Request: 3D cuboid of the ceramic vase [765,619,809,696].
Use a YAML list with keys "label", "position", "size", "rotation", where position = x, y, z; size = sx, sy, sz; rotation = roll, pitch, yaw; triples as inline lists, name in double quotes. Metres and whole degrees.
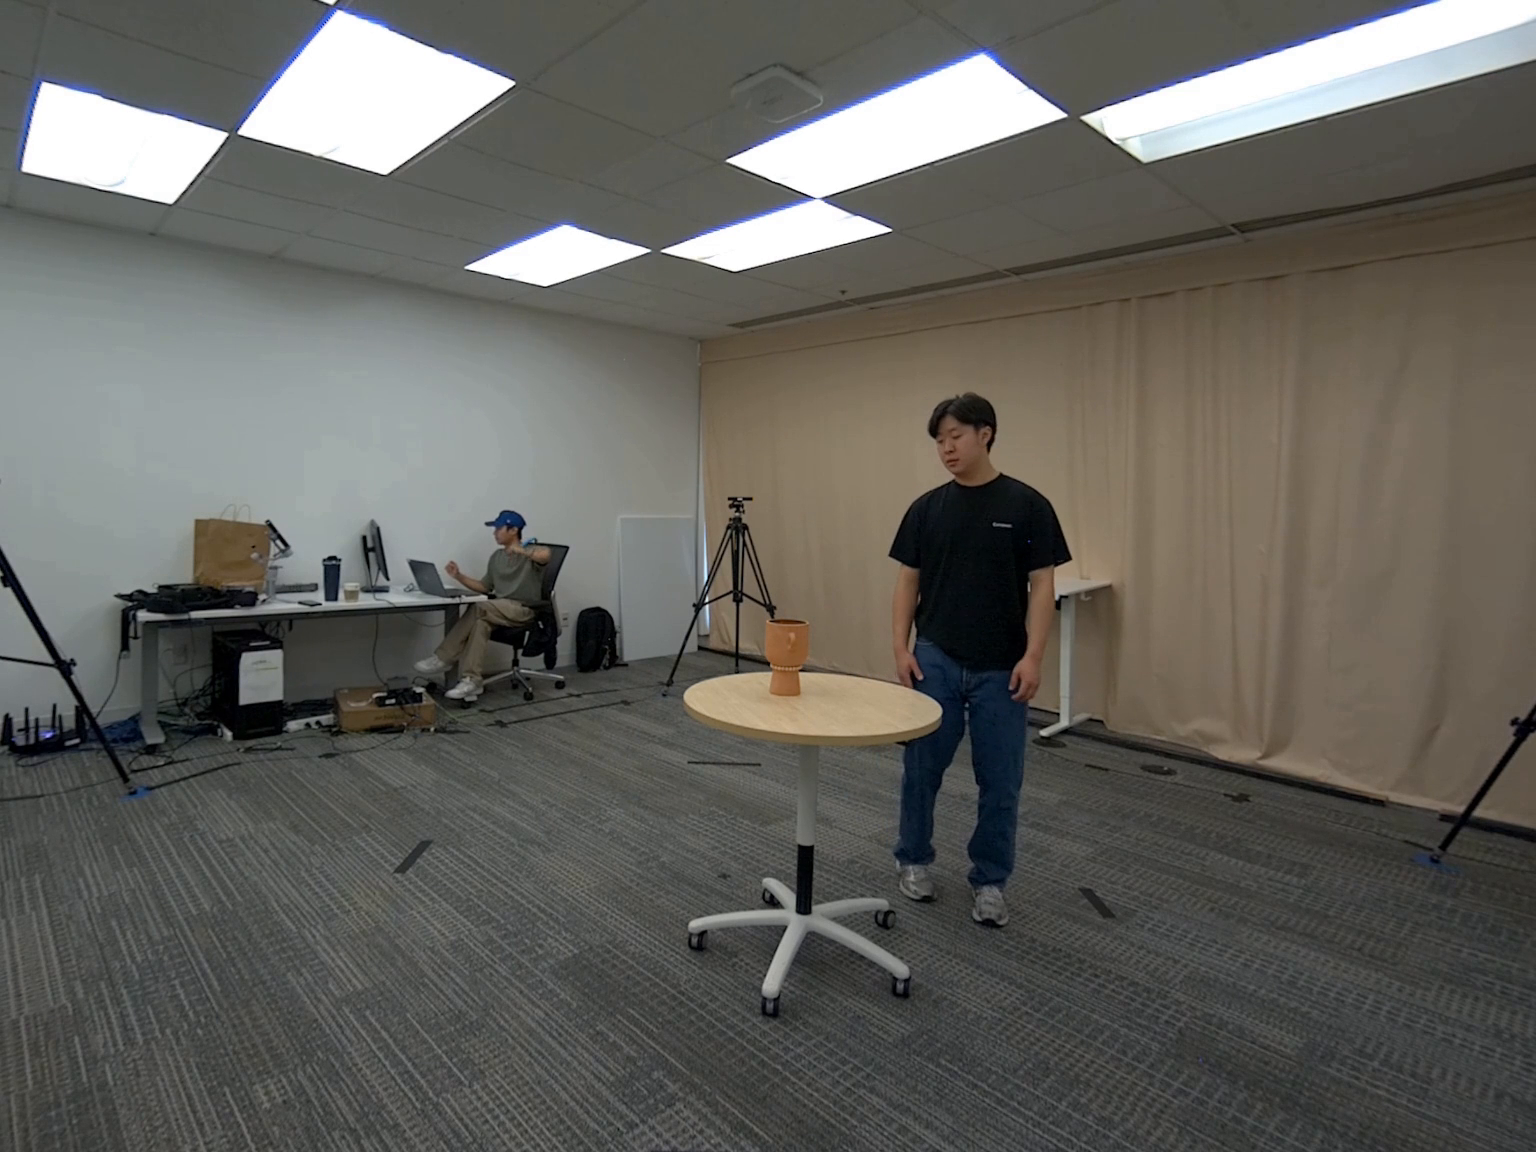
- label: "ceramic vase"
  position: [0.052, 0.252, 2.587]
  size: [0.138, 0.219, 0.156]
  rotation: [5, 4, 30]
